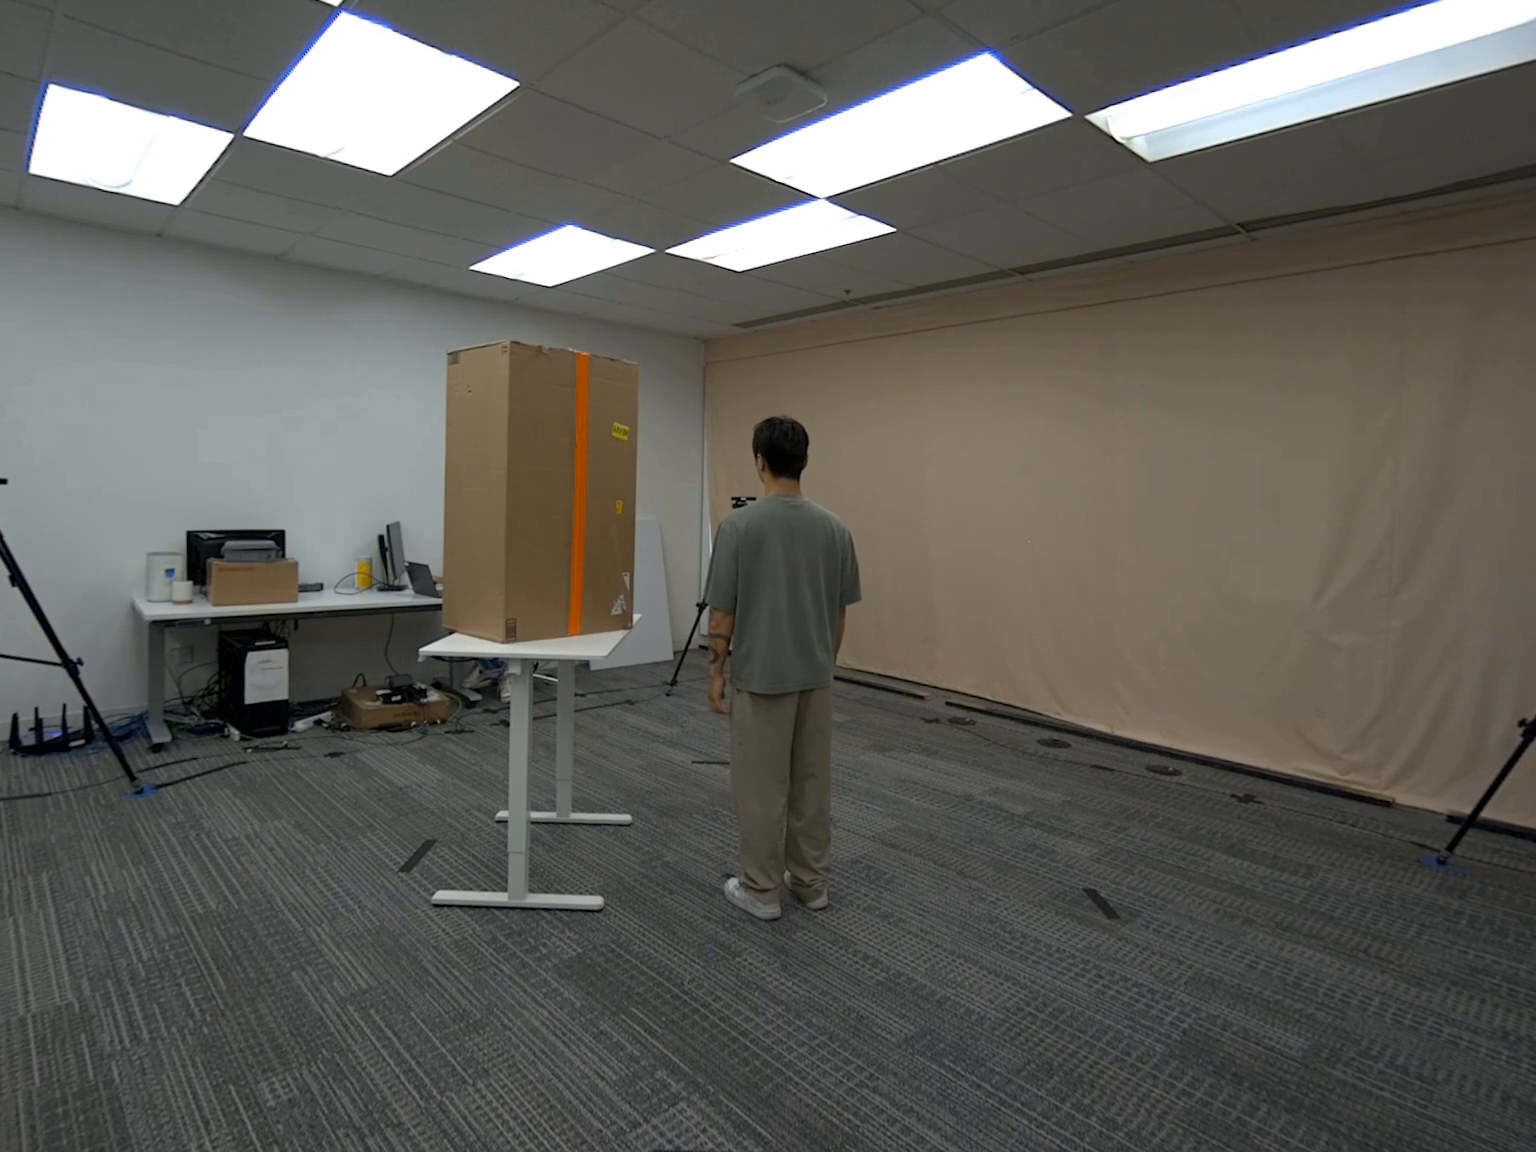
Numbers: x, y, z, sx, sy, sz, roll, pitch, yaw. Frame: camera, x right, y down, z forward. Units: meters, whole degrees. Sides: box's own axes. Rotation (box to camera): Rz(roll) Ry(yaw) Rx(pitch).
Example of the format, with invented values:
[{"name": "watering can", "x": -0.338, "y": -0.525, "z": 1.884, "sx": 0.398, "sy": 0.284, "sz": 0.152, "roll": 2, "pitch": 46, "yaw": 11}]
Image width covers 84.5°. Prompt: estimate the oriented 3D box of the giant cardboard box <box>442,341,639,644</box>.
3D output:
[{"name": "giant cardboard box", "x": -0.855, "y": -0.306, "z": 3.166, "sx": 0.437, "sy": 1.024, "sz": 0.564, "roll": 5, "pitch": 4, "yaw": 41}]
